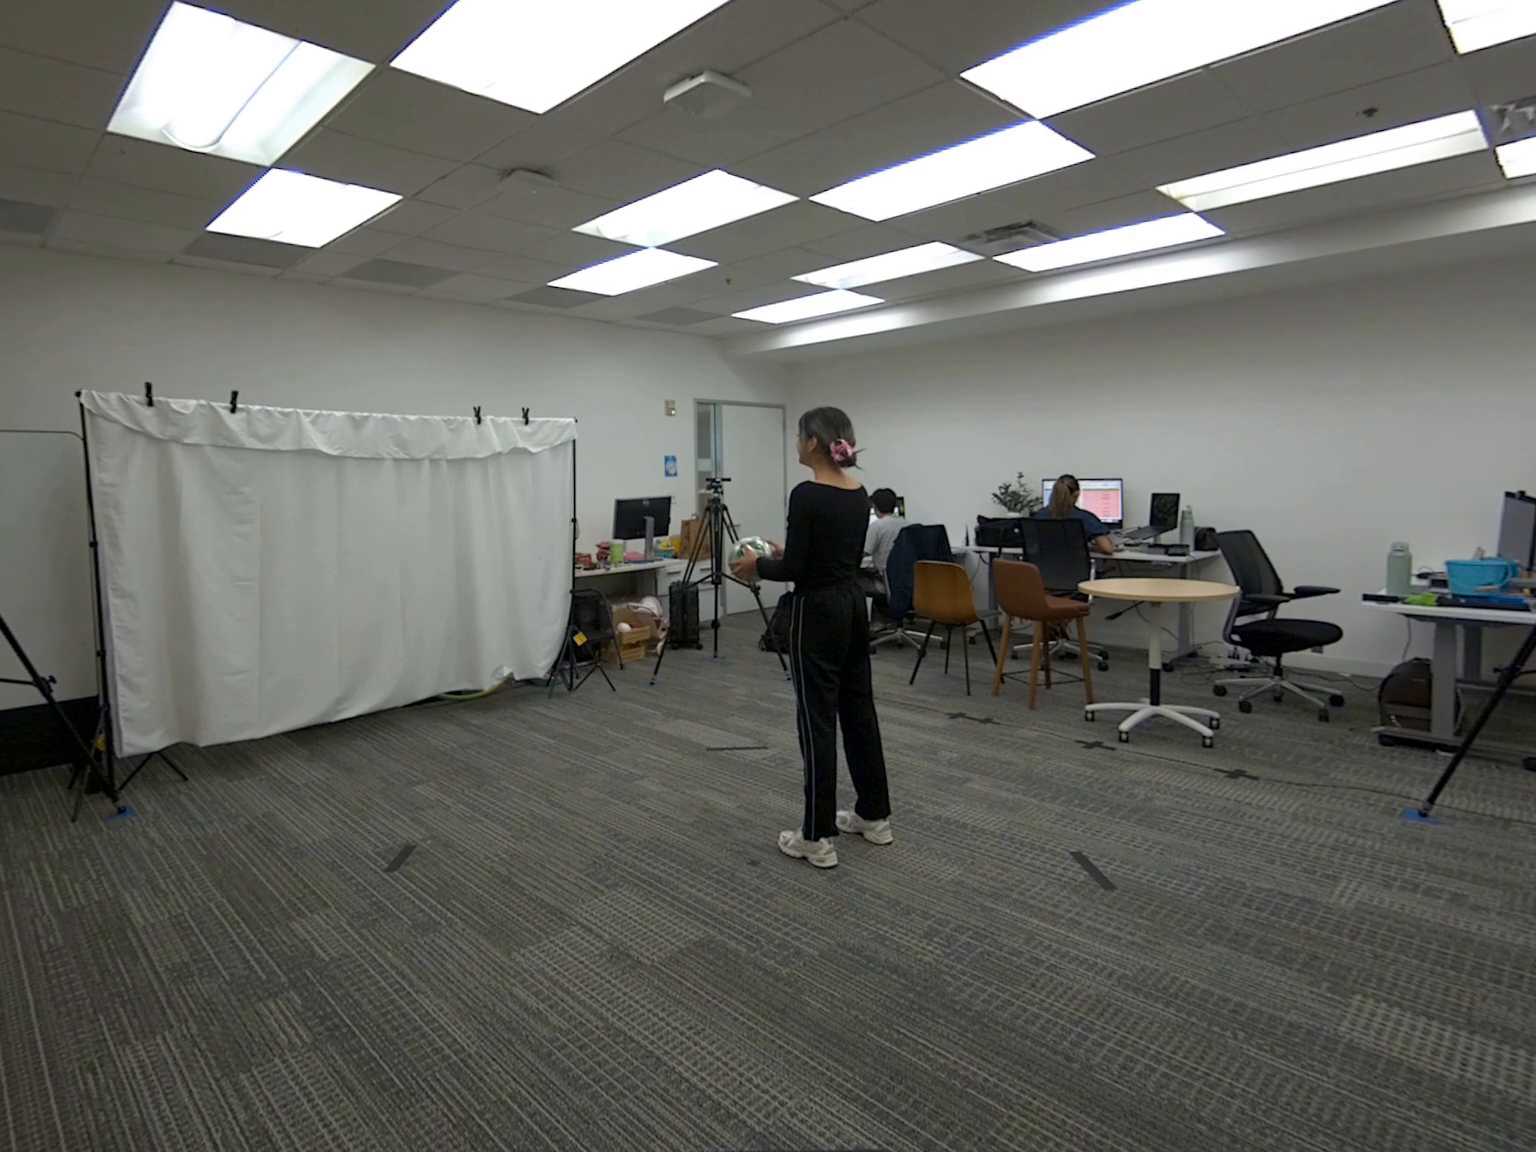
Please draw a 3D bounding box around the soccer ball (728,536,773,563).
[{"bbox_3d":[-0.056,-0.071,3.422,0.187,0.187,0.188,-1,5,-2],"label":"soccer ball"}]
